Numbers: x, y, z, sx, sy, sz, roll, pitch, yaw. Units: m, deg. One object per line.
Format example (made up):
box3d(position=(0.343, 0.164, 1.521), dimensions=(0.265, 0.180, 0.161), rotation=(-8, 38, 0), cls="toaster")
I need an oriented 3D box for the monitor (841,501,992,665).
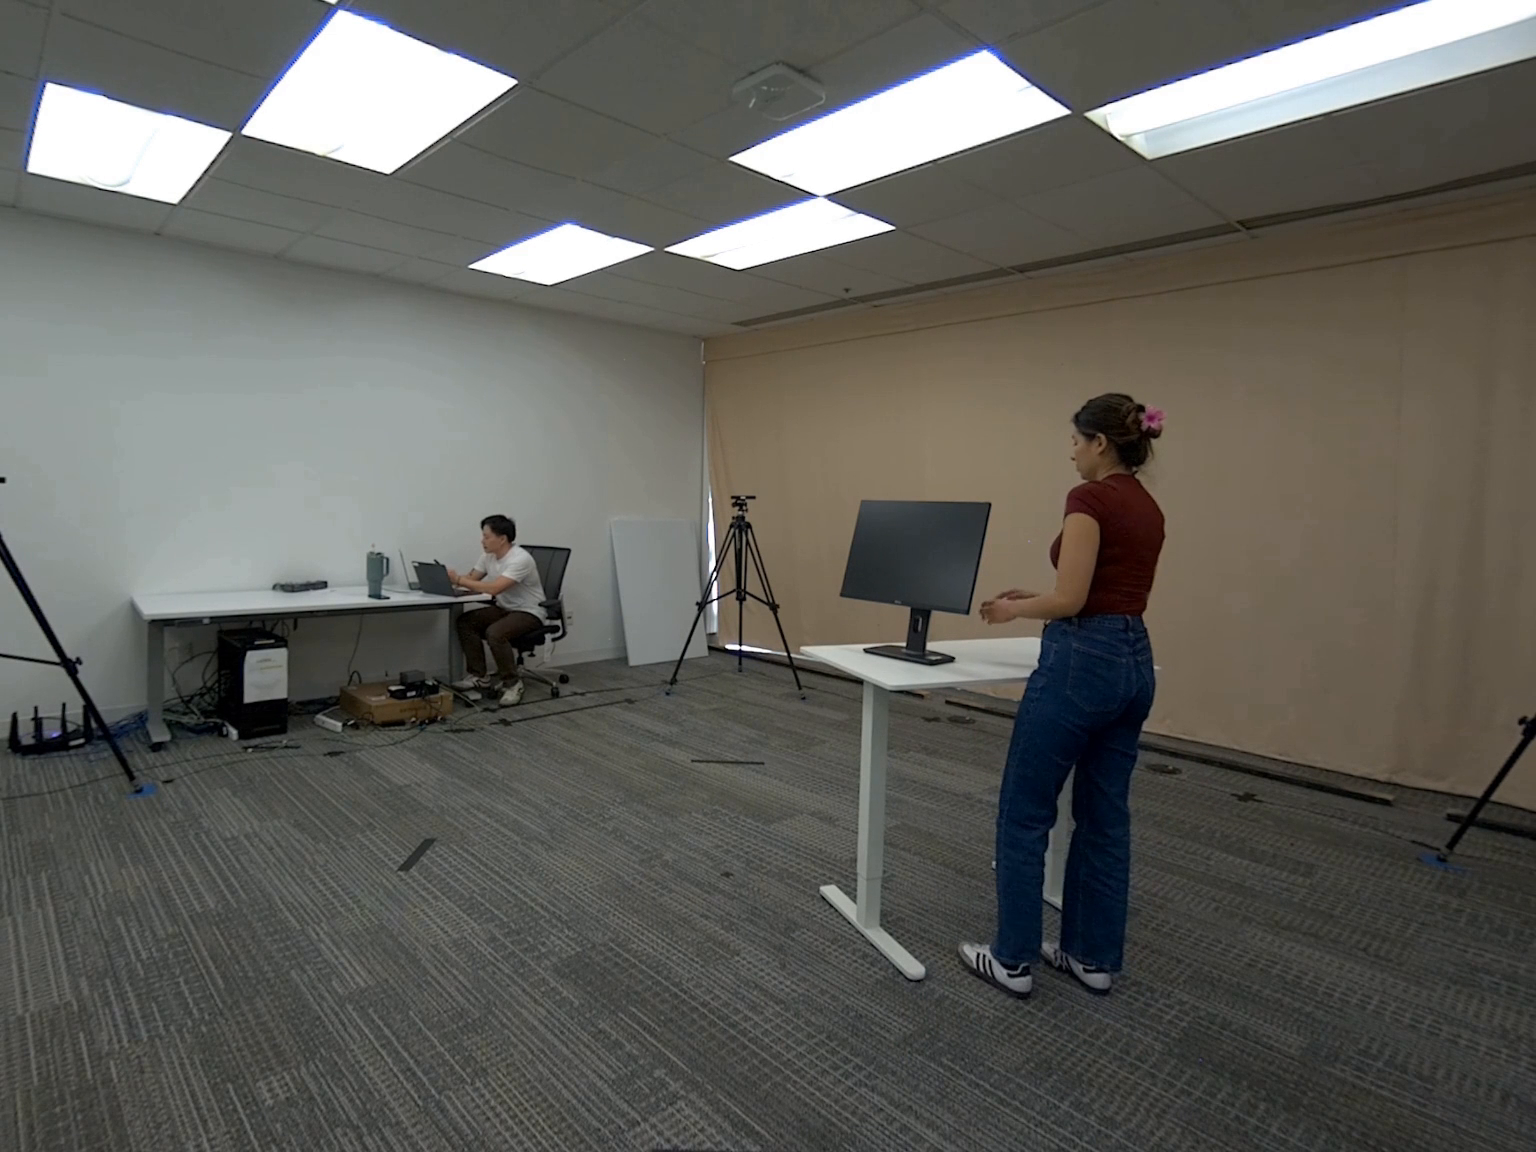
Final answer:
box3d(position=(0.481, 0.015, 2.764), dimensions=(0.182, 0.522, 0.553), rotation=(2, 3, -40), cls="monitor")
